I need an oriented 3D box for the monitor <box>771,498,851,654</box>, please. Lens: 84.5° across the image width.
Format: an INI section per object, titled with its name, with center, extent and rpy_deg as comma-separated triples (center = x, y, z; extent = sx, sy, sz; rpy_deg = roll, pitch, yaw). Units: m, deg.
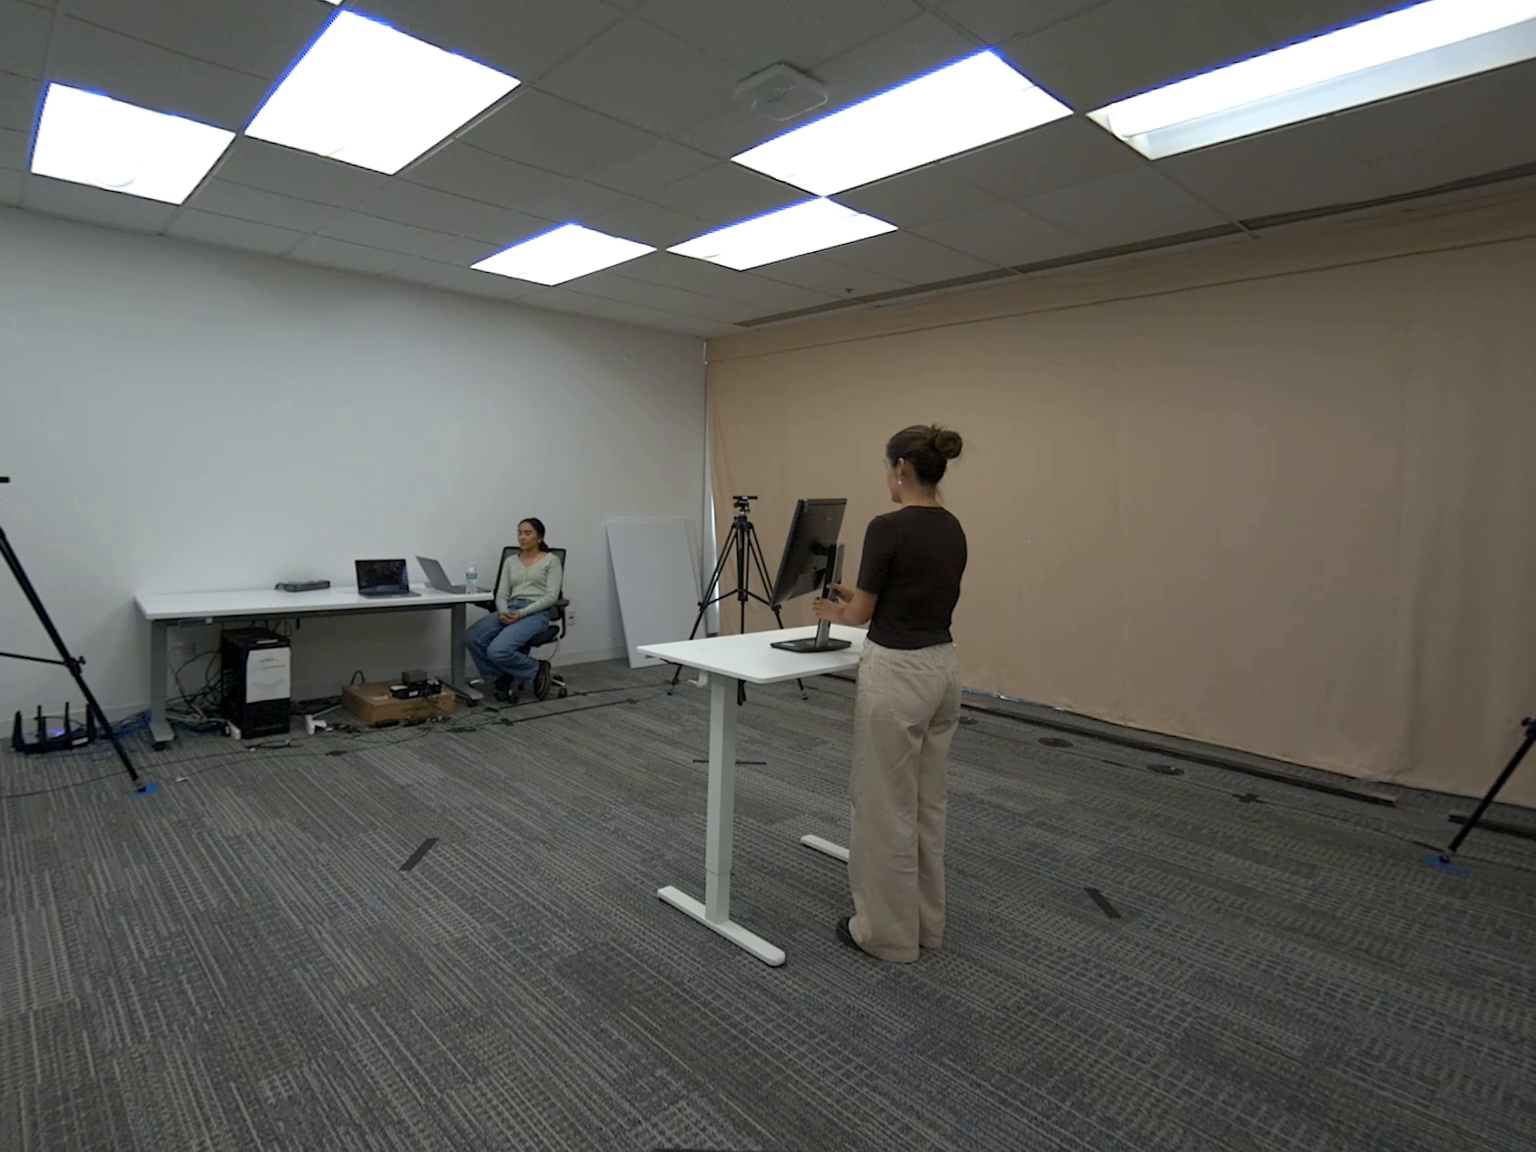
[monitor]
center = 0.167, -0.005, 2.889
extent = 0.190, 0.521, 0.532
rpy_deg = 4, 6, 18
